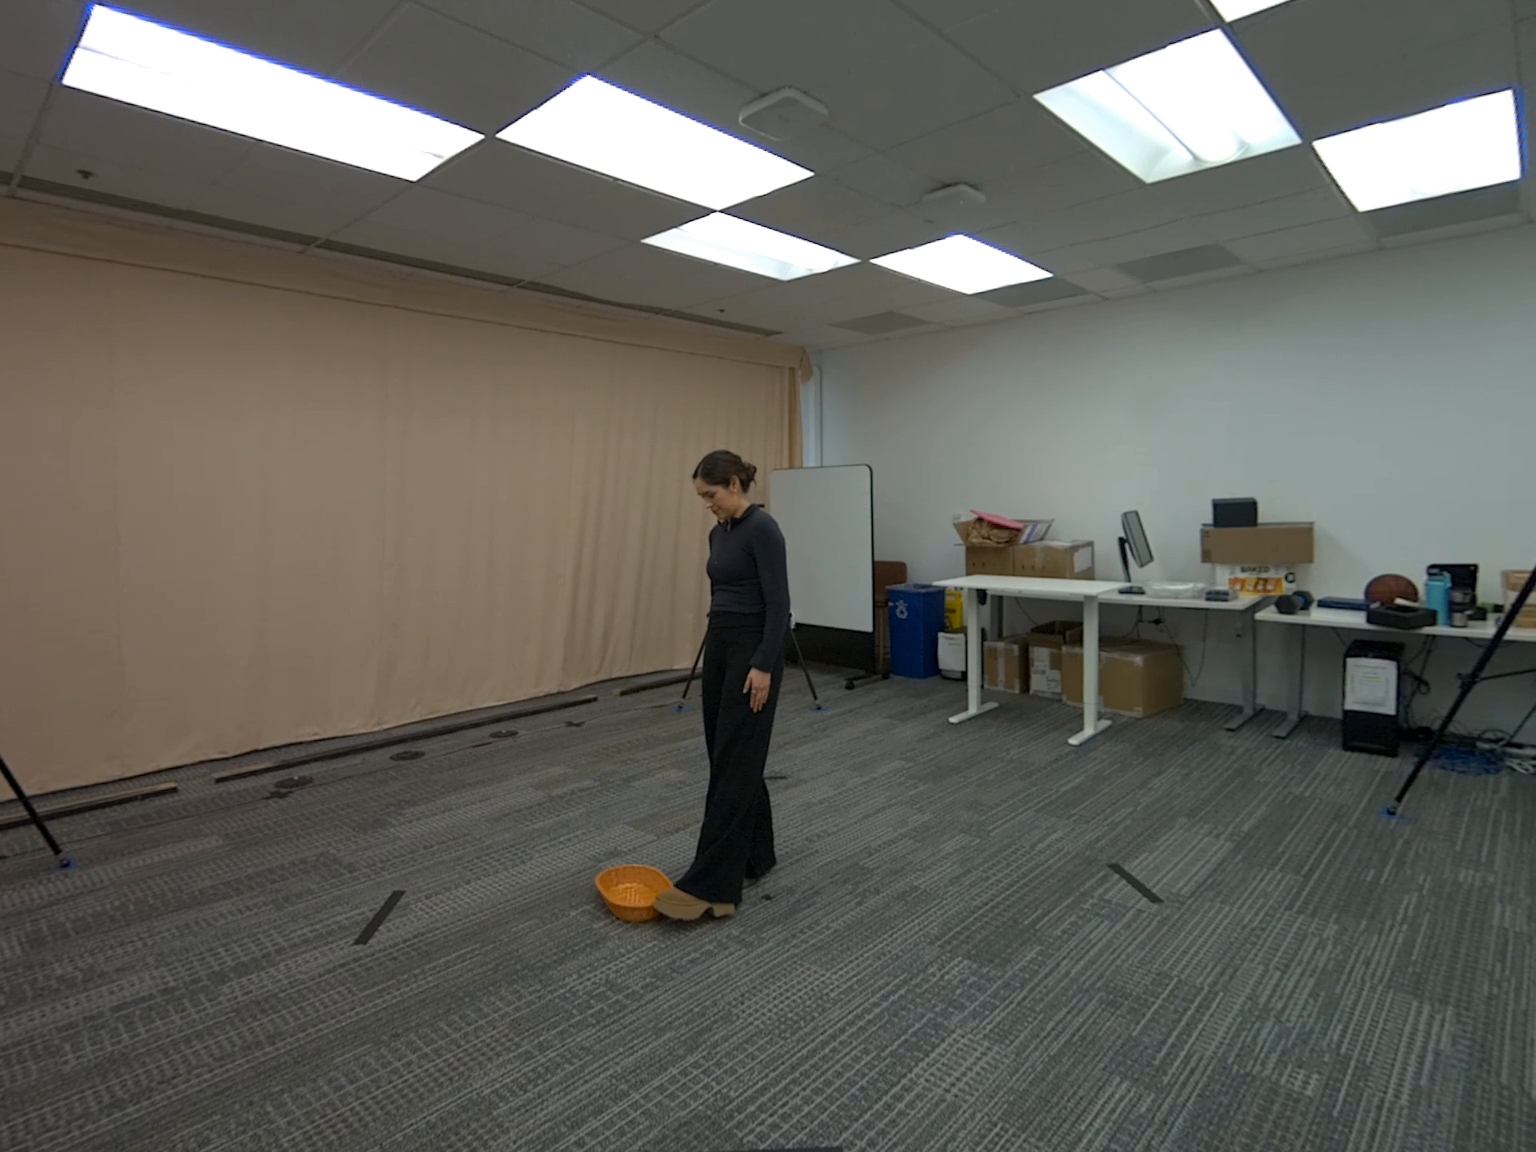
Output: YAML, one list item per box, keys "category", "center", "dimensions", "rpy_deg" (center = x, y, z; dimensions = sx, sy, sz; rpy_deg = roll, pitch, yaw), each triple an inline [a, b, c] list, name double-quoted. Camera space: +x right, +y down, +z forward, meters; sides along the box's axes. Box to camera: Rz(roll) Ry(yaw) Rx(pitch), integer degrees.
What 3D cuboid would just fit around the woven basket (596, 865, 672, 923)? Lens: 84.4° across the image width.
- category: "woven basket"
  center: [-0.472, 1.113, 2.954]
  dimensions: [0.247, 0.073, 0.359]
  rpy_deg: [-2, 4, -24]
